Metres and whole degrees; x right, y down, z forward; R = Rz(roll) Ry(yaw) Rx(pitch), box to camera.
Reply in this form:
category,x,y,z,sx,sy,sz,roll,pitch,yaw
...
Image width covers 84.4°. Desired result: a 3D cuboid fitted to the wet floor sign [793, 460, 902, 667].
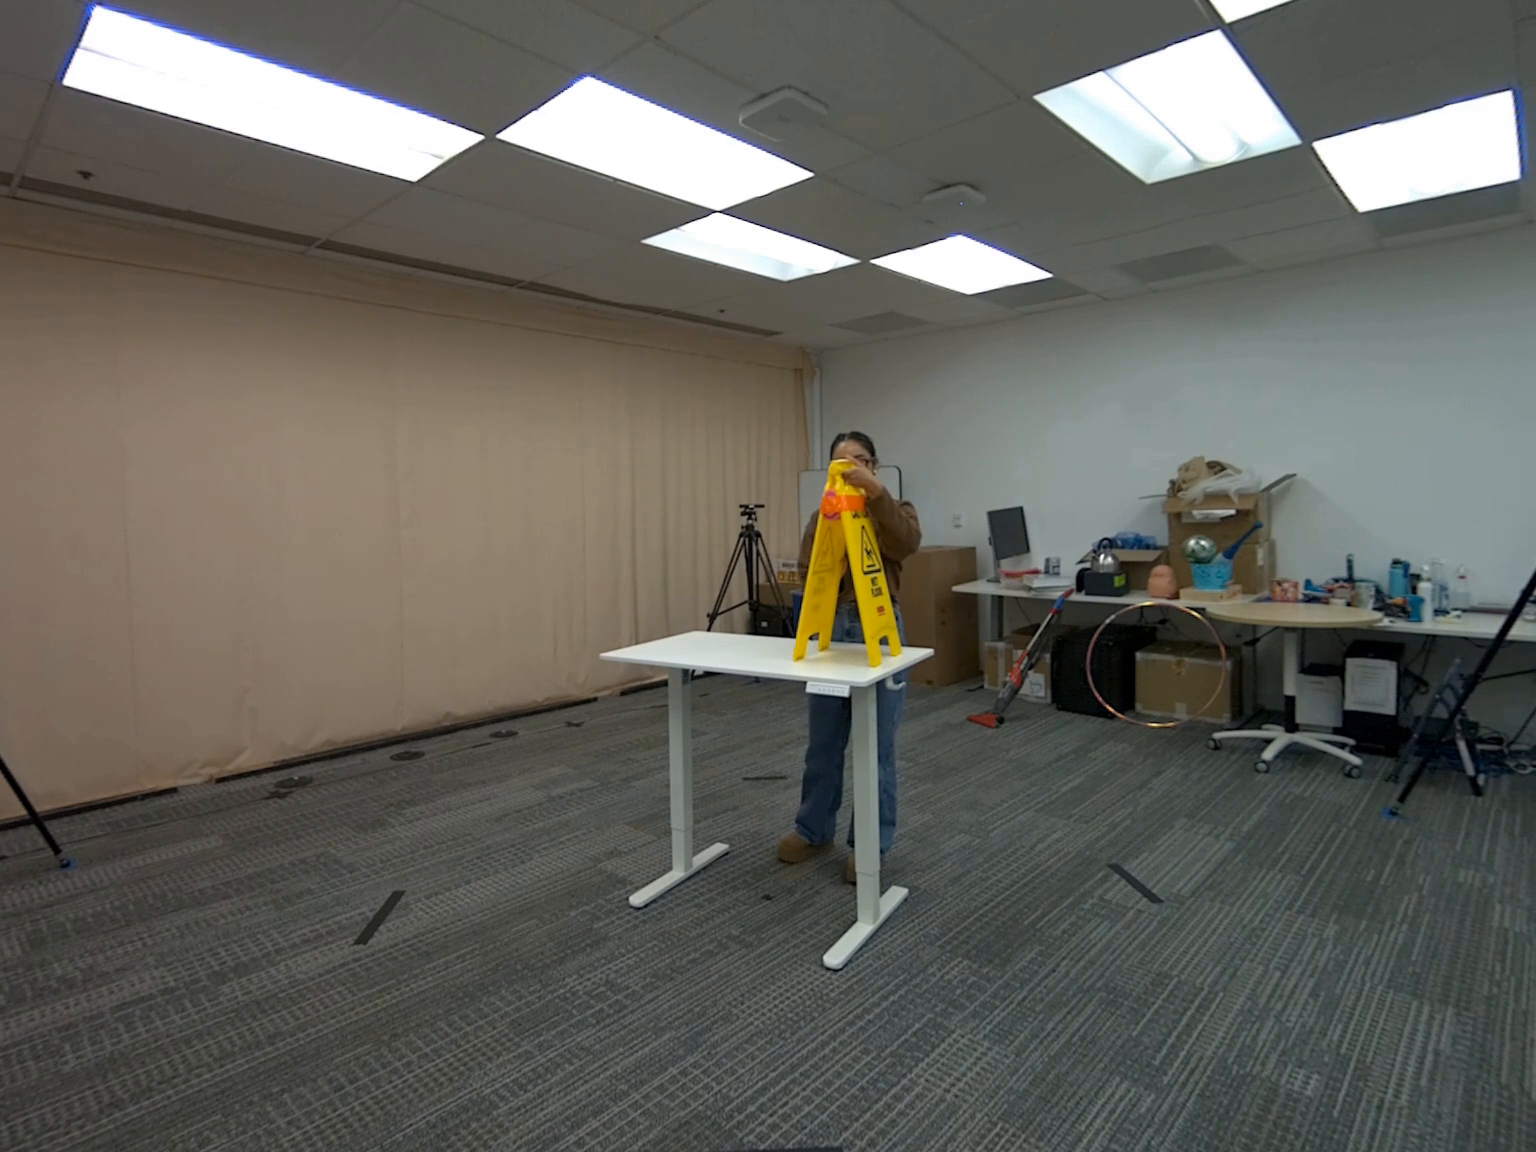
category,x,y,z,sx,sy,sz,roll,pitch,yaw
wet floor sign,0.264,-0.051,2.762,0.298,0.644,0.275,1,5,28
